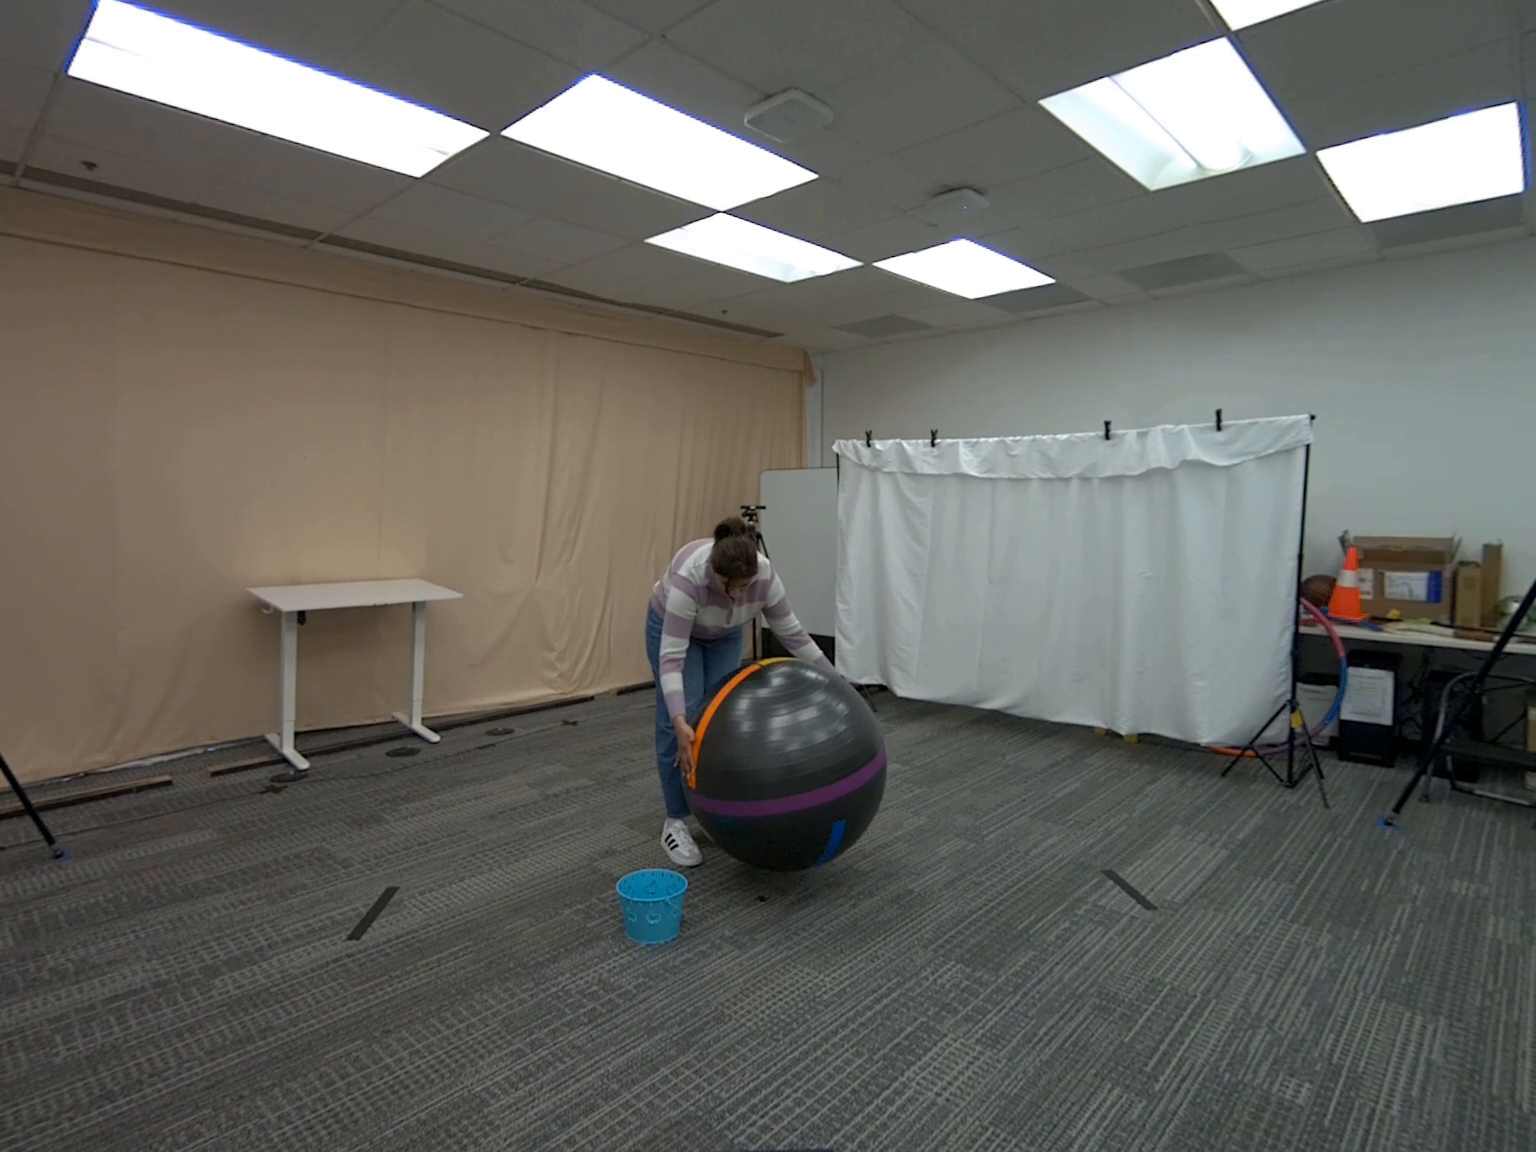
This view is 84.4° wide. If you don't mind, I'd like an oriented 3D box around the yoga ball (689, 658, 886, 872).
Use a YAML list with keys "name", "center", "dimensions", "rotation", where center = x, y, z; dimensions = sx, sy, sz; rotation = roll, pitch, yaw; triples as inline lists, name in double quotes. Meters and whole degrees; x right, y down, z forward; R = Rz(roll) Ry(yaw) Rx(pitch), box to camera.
- name: "yoga ball"
  center: [0.057, 0.690, 3.113]
  dimensions: [0.757, 0.756, 0.760]
  rotation: [0, 4, -2]
